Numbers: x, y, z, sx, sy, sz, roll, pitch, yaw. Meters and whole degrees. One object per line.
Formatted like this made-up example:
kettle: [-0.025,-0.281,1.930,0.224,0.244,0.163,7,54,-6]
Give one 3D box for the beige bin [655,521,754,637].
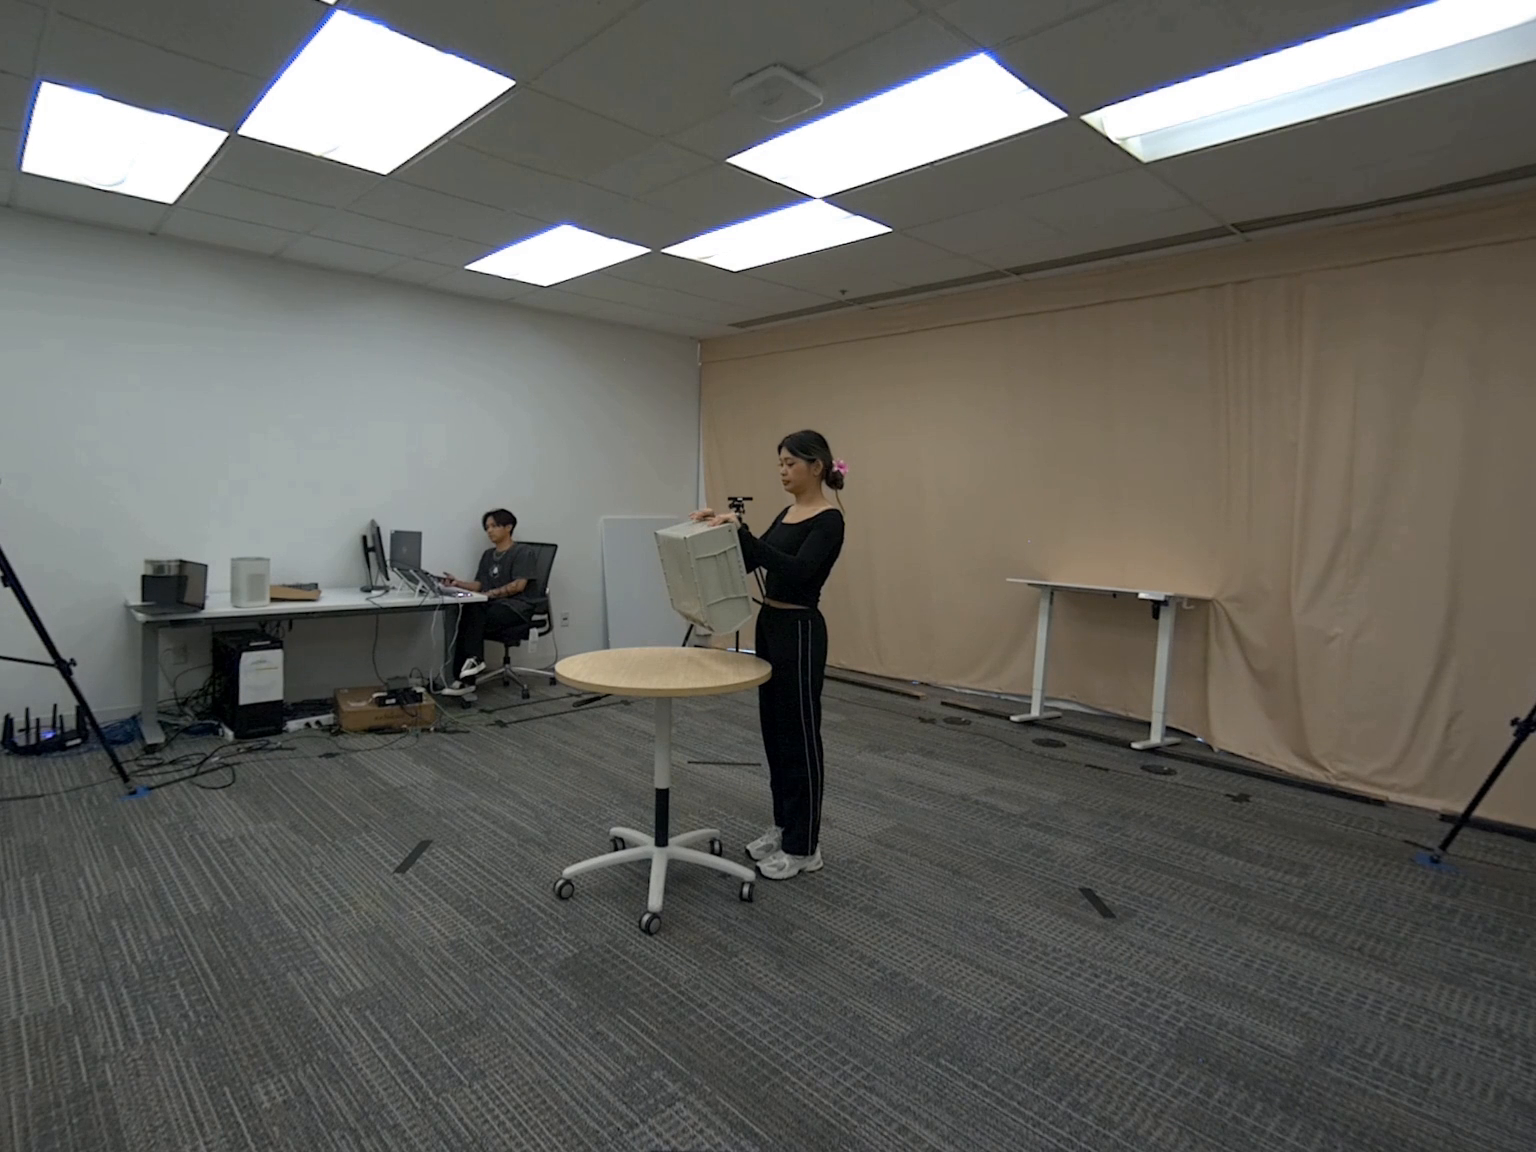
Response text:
beige bin: [-0.235,-0.006,3.052,0.187,0.374,0.430,-16,11,-20]
